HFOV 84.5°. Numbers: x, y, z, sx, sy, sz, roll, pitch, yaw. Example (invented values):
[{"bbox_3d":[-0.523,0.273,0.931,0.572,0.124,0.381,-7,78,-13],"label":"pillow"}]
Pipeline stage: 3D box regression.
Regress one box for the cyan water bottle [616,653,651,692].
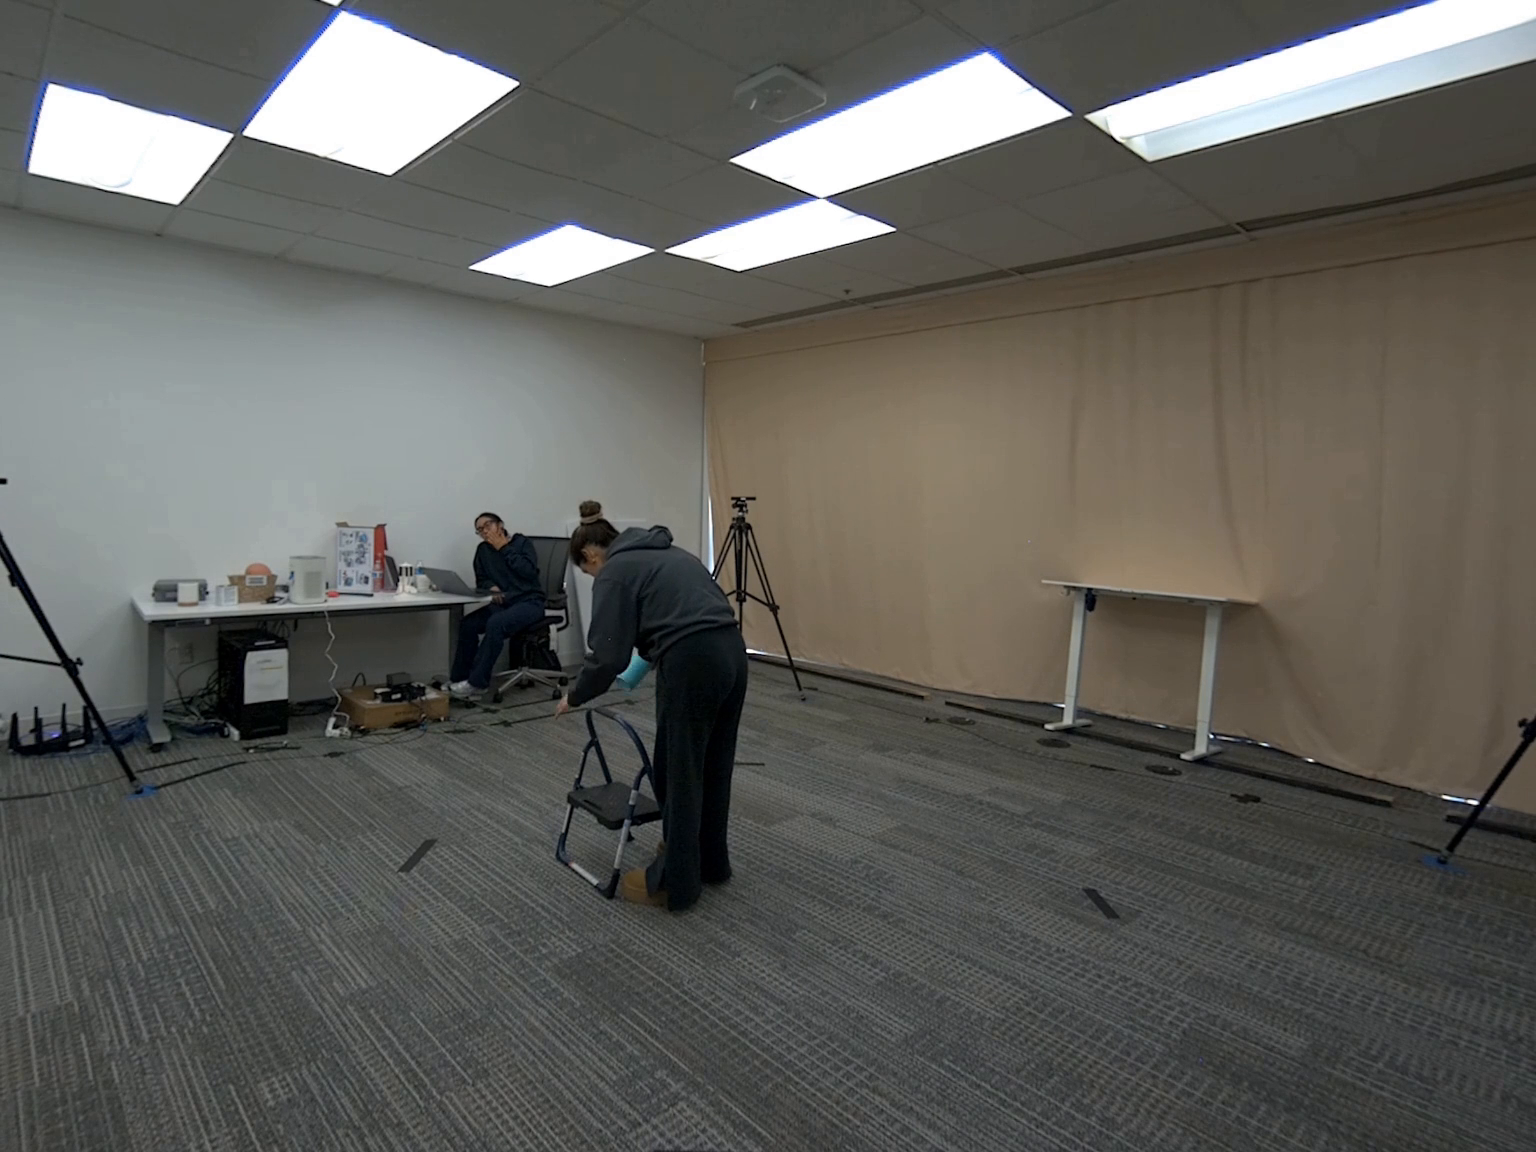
[{"bbox_3d":[-0.510,0.344,3.309,0.094,0.090,0.284,5,44,39],"label":"cyan water bottle"}]
